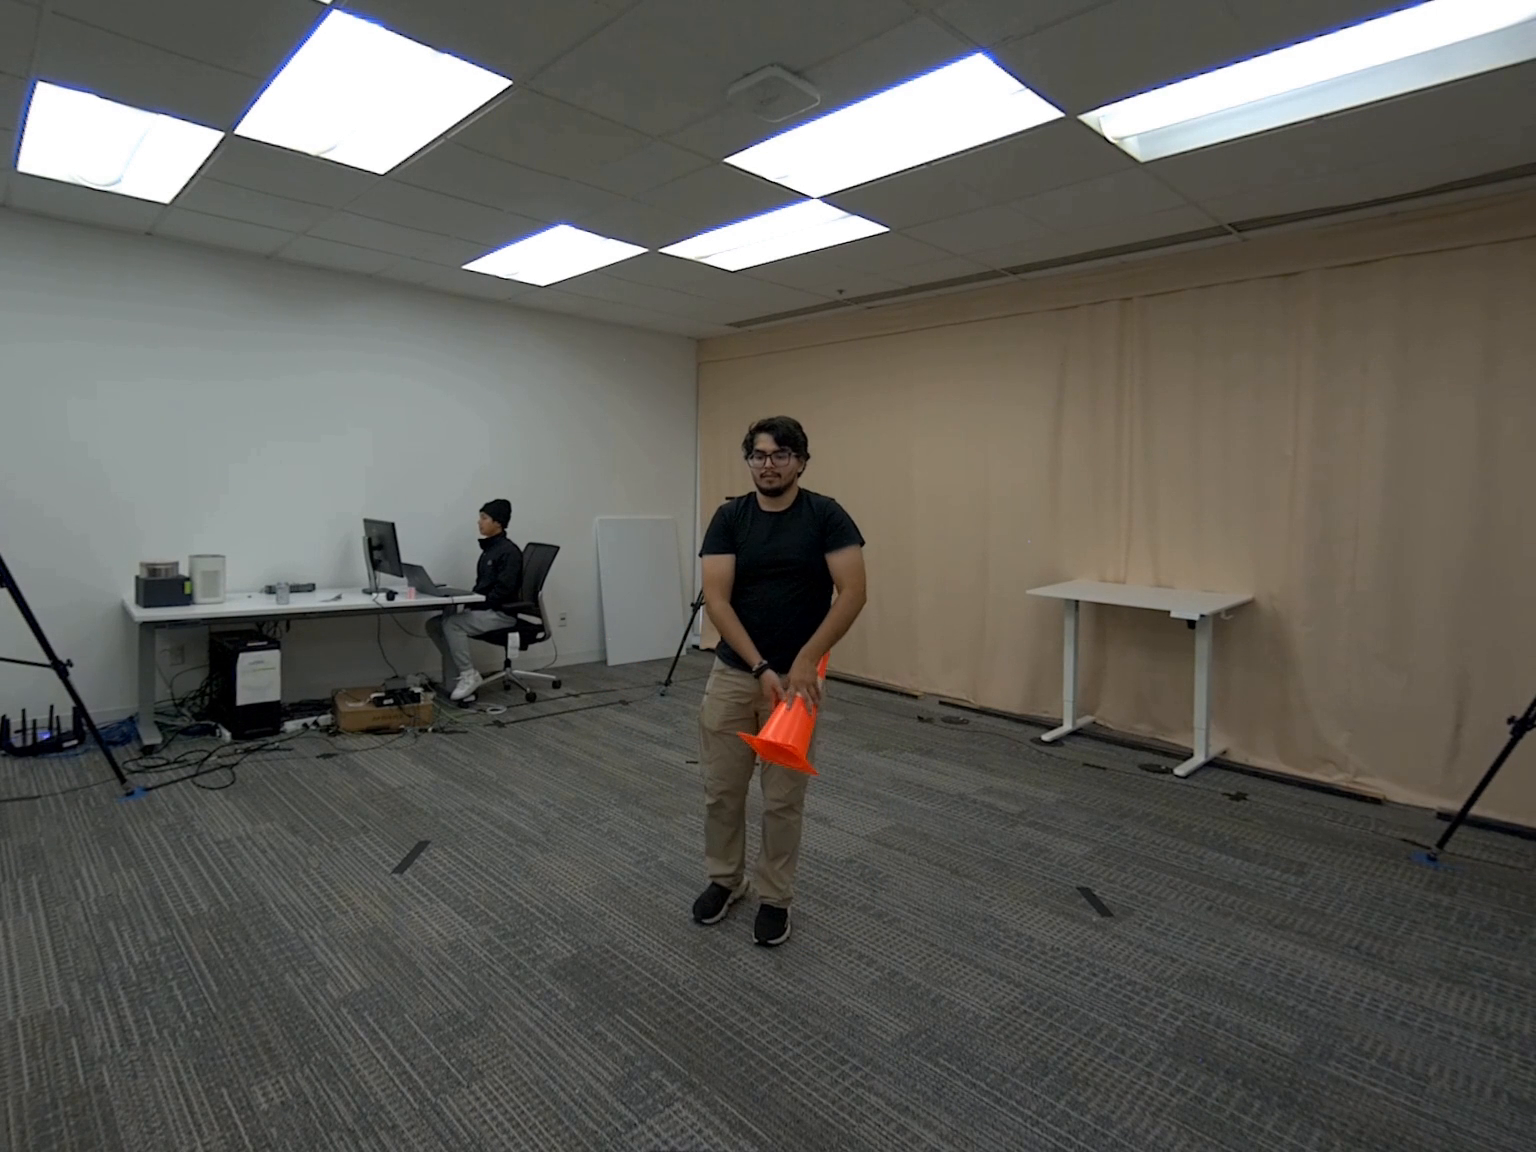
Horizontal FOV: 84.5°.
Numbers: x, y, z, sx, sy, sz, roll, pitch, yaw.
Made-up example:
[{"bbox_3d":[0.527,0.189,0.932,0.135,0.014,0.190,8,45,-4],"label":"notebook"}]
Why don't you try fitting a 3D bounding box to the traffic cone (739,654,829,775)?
[{"bbox_3d":[0.093,0.361,2.495,0.210,0.387,0.197,1,-33,35],"label":"traffic cone"}]
